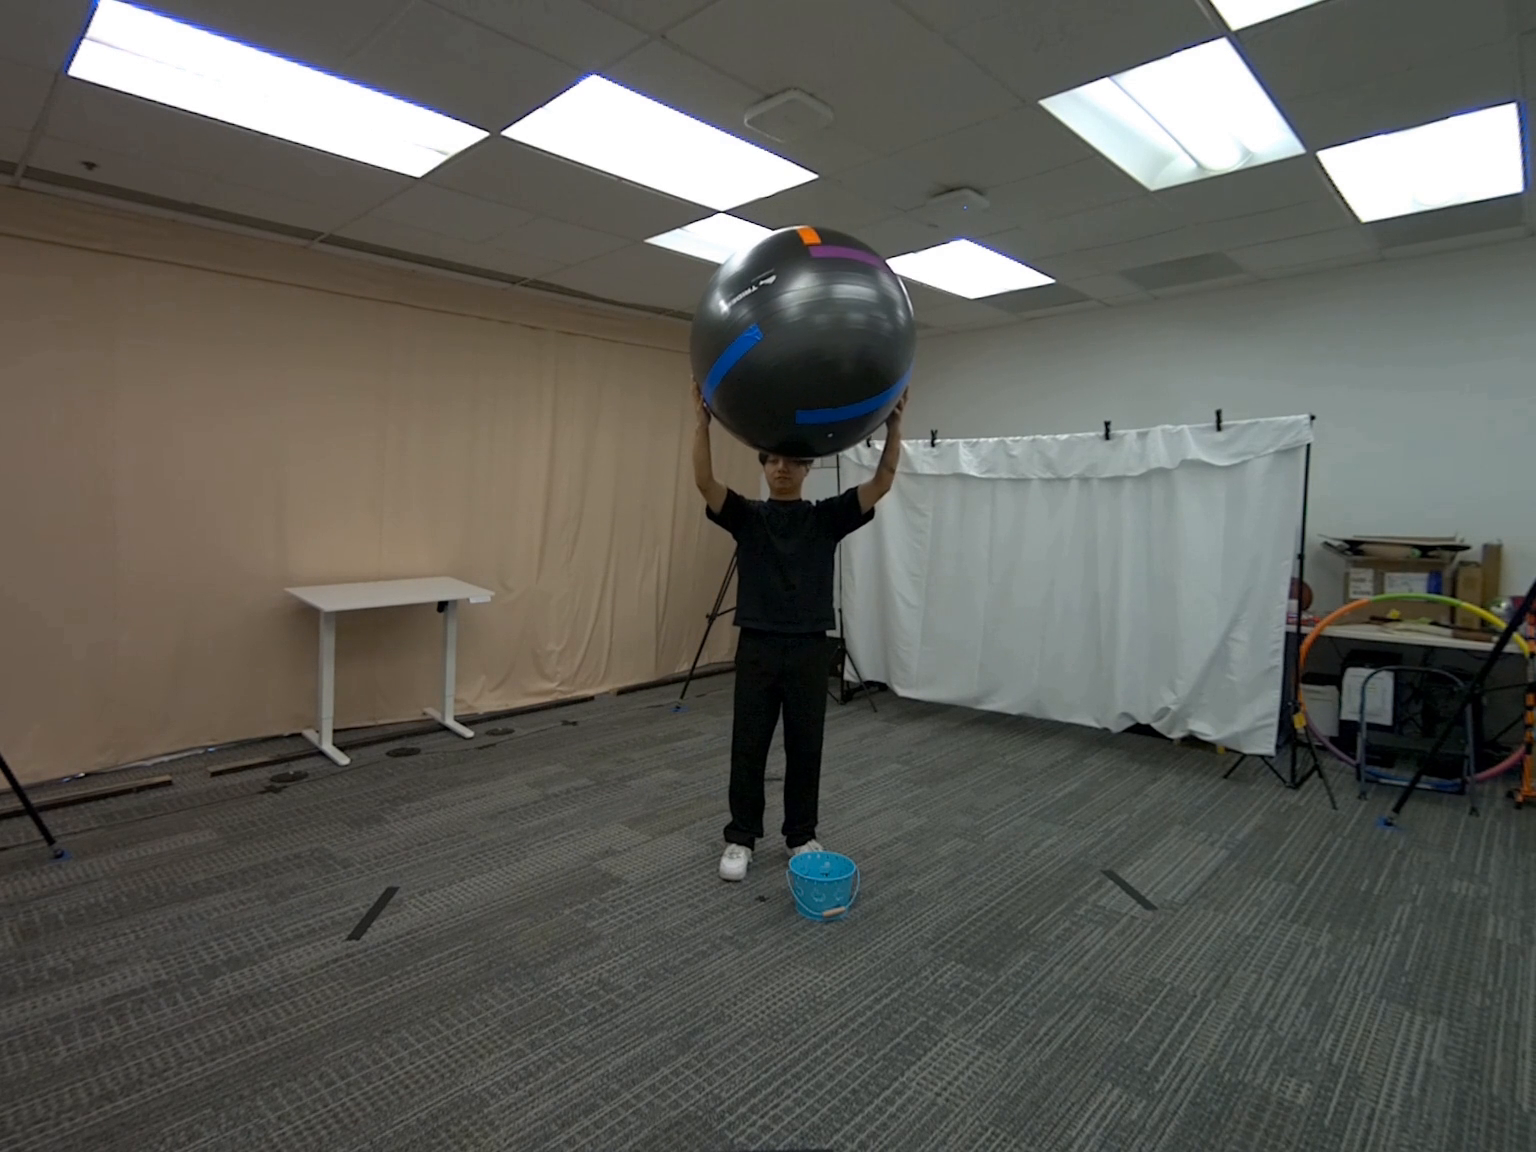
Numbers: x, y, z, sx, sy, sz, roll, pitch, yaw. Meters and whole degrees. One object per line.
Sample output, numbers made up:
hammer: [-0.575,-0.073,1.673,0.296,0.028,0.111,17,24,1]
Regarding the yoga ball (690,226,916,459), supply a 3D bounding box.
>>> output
yoga ball: [0.116,-0.768,2.846,0.757,0.756,0.760,0,4,-2]
